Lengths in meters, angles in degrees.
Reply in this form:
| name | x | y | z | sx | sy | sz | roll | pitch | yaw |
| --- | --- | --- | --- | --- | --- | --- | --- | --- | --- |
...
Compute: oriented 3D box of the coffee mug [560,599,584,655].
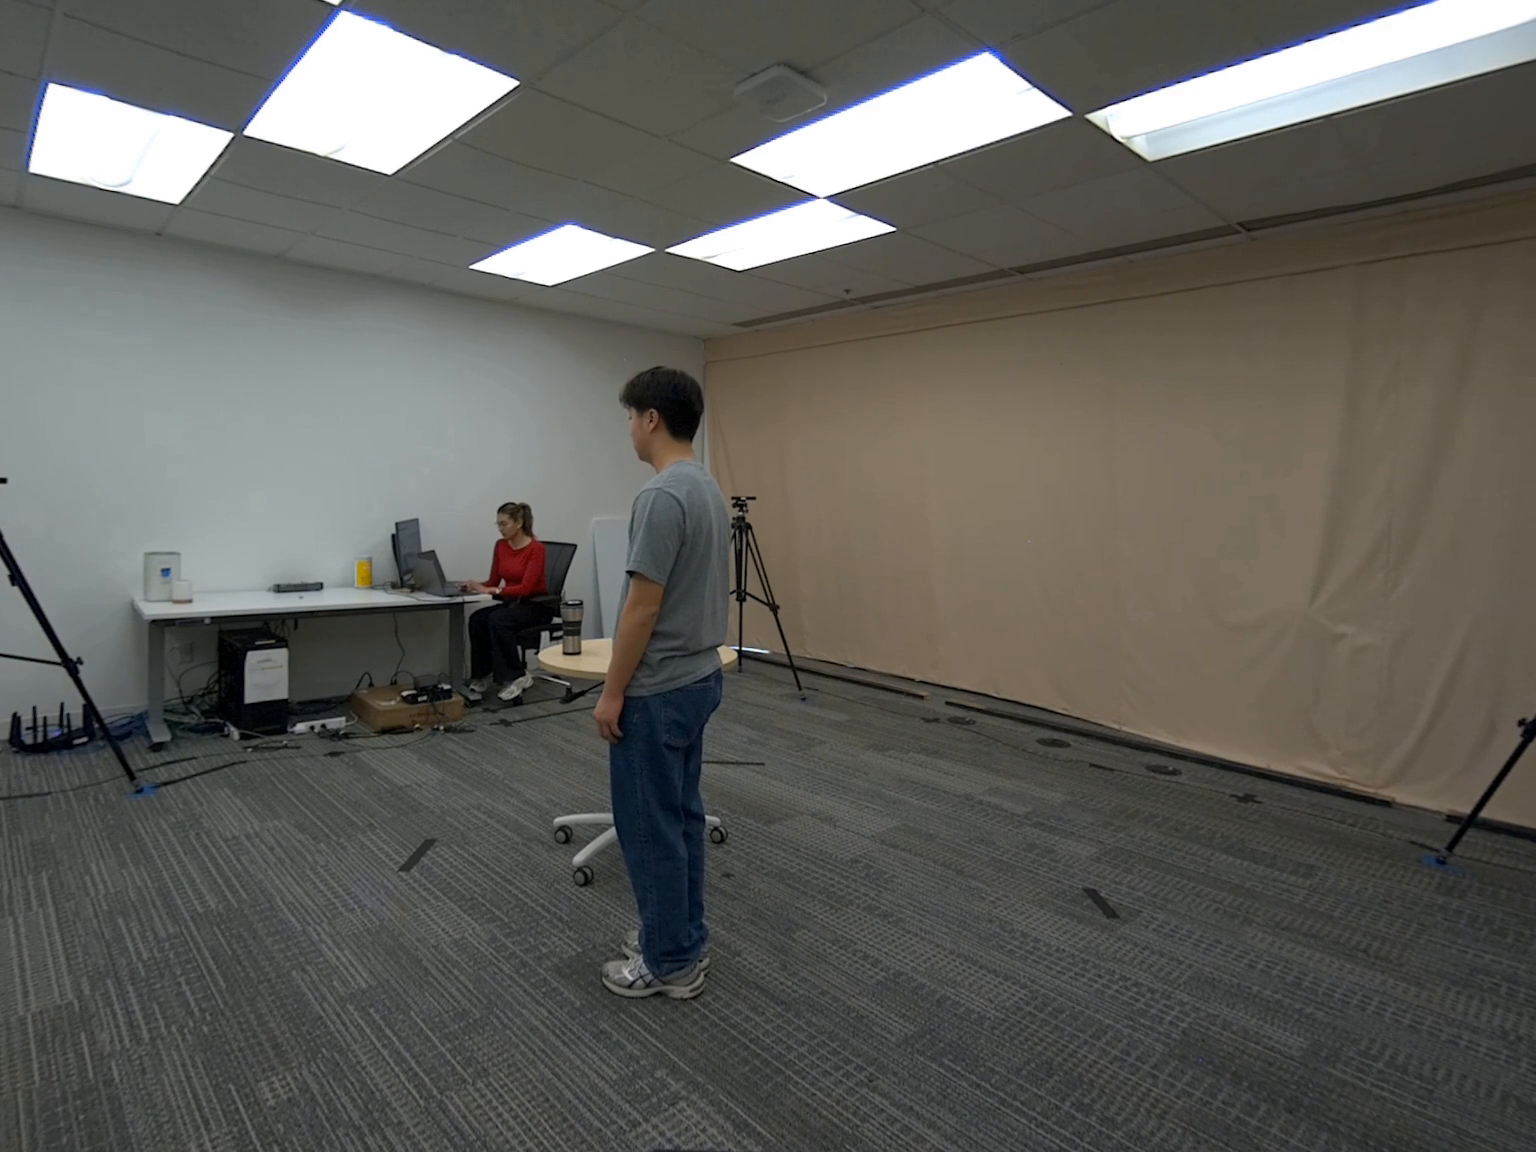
| name | x | y | z | sx | sy | sz | roll | pitch | yaw |
| --- | --- | --- | --- | --- | --- | --- | --- | --- | --- |
| coffee mug | -0.737 | 0.197 | 3.230 | 0.089 | 0.202 | 0.120 | 0 | 5 | 27 |
